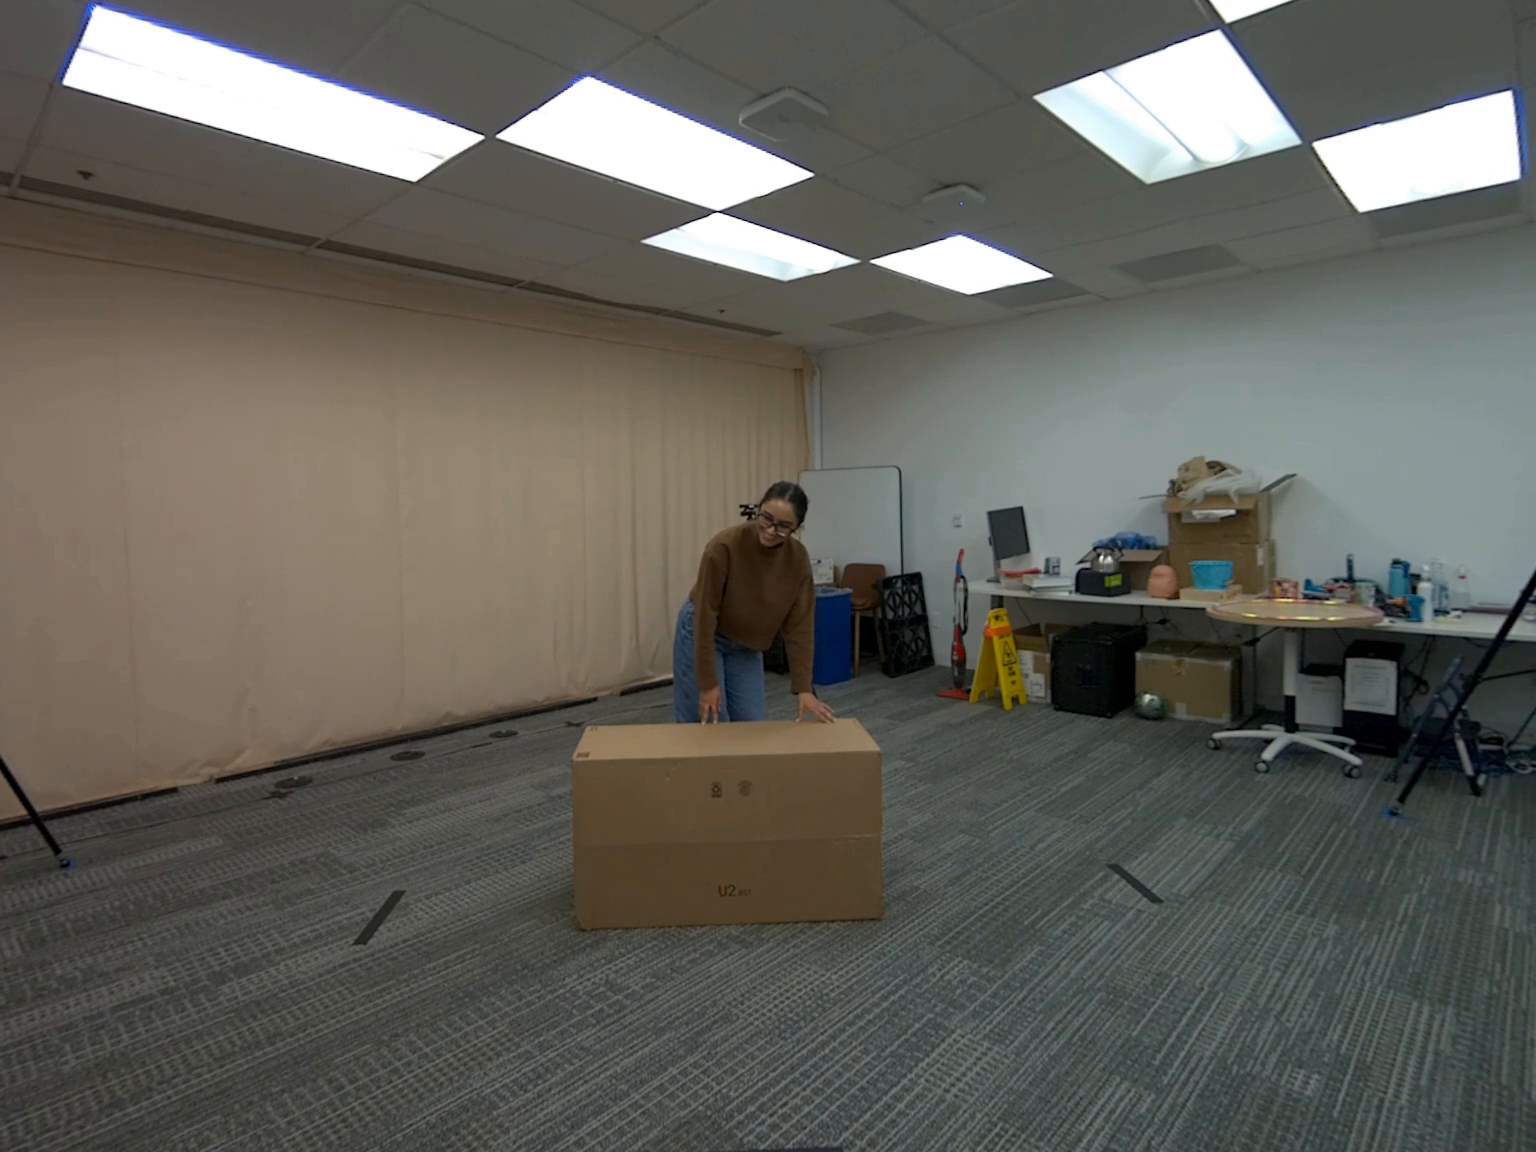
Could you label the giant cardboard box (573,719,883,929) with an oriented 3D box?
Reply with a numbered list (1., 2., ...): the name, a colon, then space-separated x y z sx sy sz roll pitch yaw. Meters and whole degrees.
1. giant cardboard box: -0.151 0.857 2.987 1.025 0.582 0.449 -1 5 -2
